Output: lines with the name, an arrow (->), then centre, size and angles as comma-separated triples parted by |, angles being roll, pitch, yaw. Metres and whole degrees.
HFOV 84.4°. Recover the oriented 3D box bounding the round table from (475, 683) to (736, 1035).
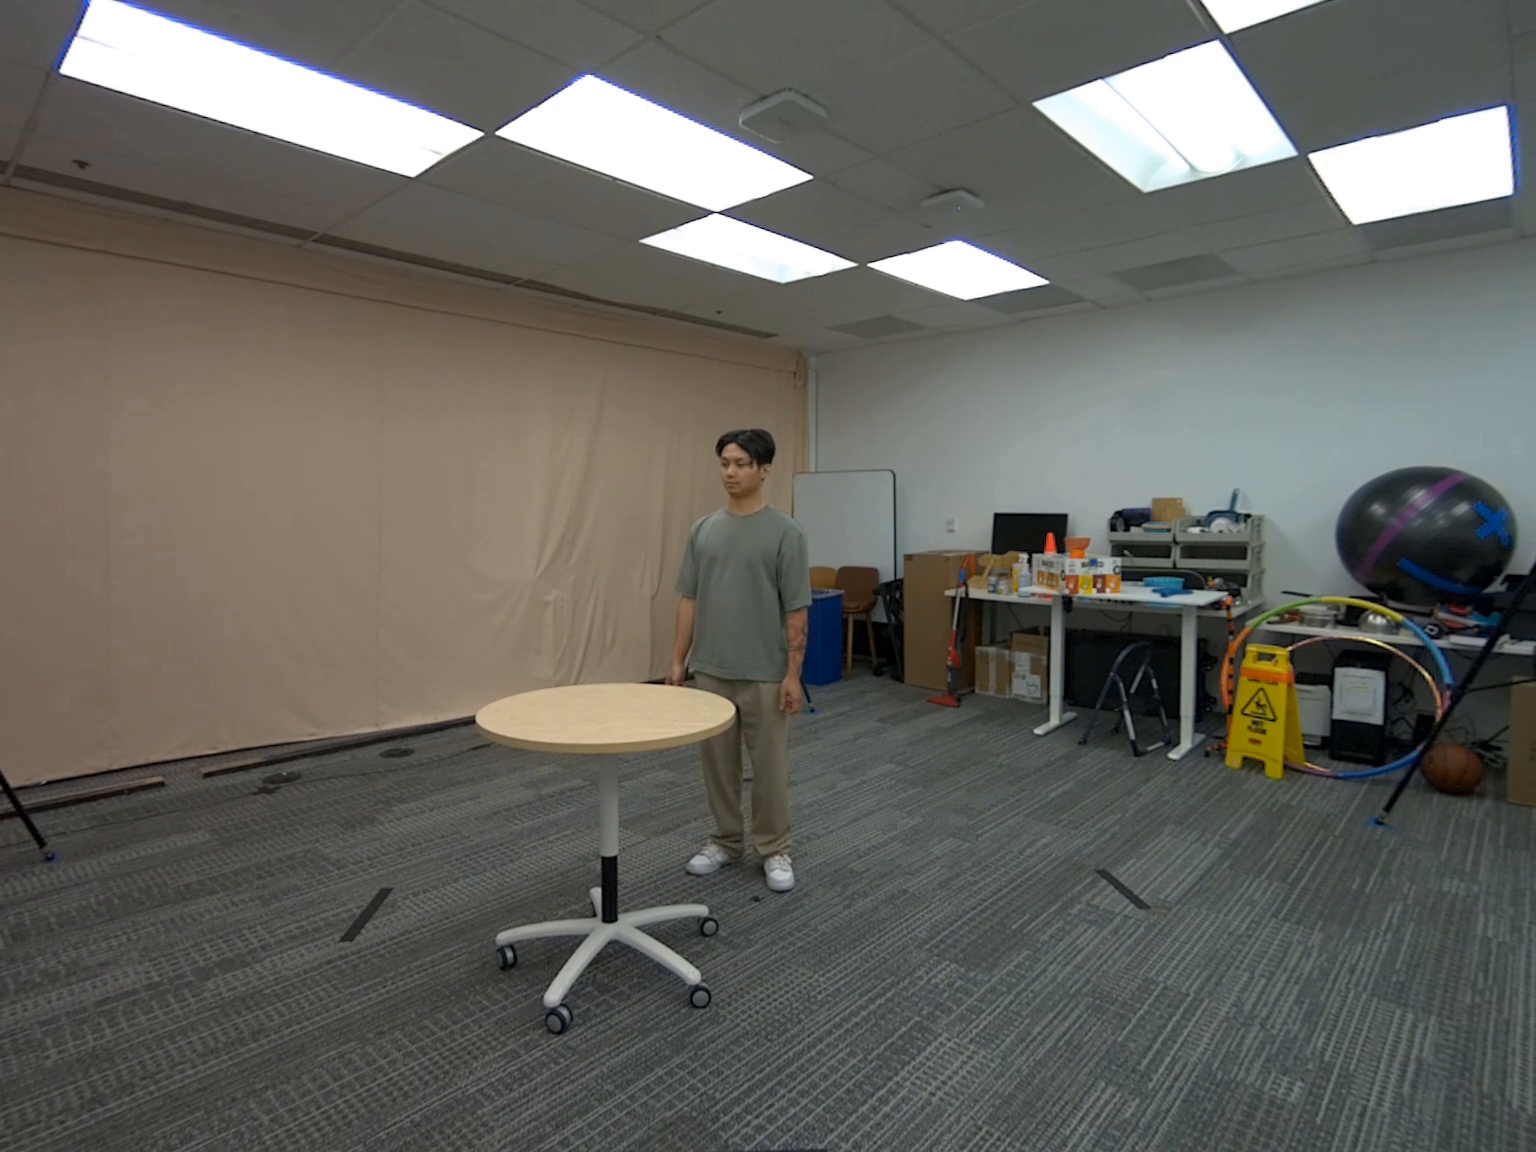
round table -> -0.483, 0.789, 2.530 | 0.784, 0.785, 0.787 | 0, 3, -2
